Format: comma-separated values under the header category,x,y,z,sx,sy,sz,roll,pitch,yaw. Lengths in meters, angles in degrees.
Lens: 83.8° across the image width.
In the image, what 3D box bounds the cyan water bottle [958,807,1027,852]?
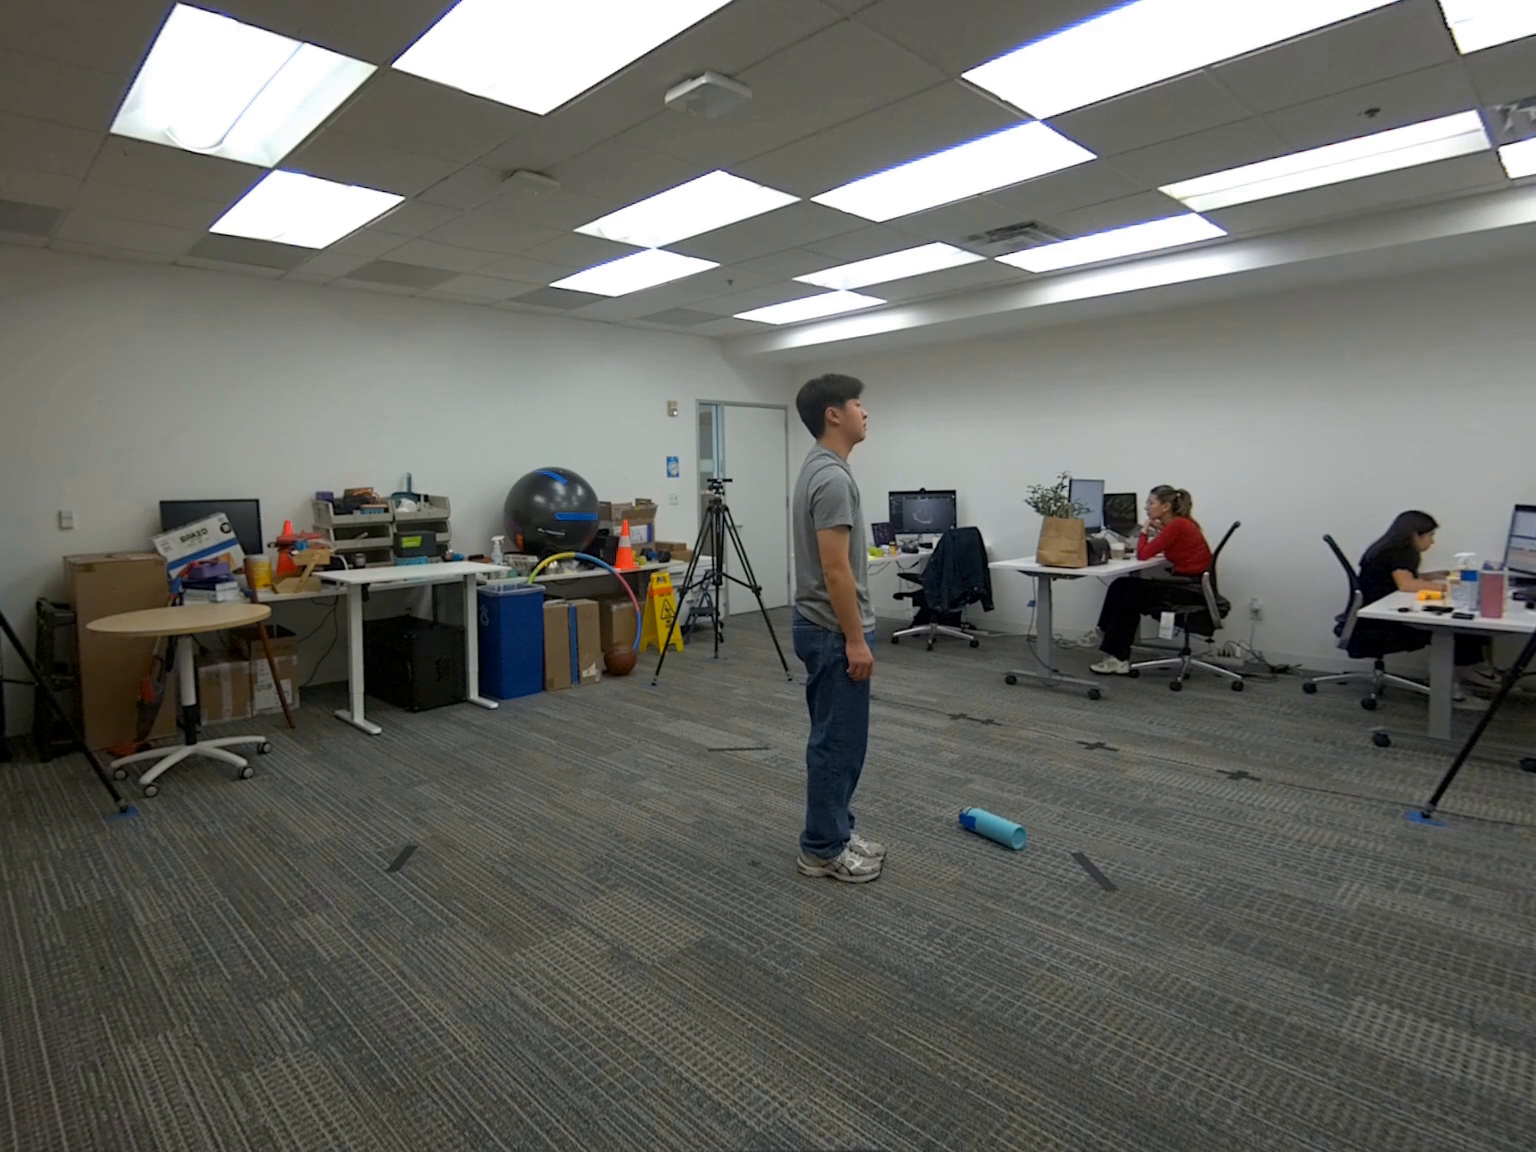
category,x,y,z,sx,sy,sz,roll,pitch,yaw
cyan water bottle,0.862,0.962,3.300,0.090,0.092,0.291,-4,6,-33
